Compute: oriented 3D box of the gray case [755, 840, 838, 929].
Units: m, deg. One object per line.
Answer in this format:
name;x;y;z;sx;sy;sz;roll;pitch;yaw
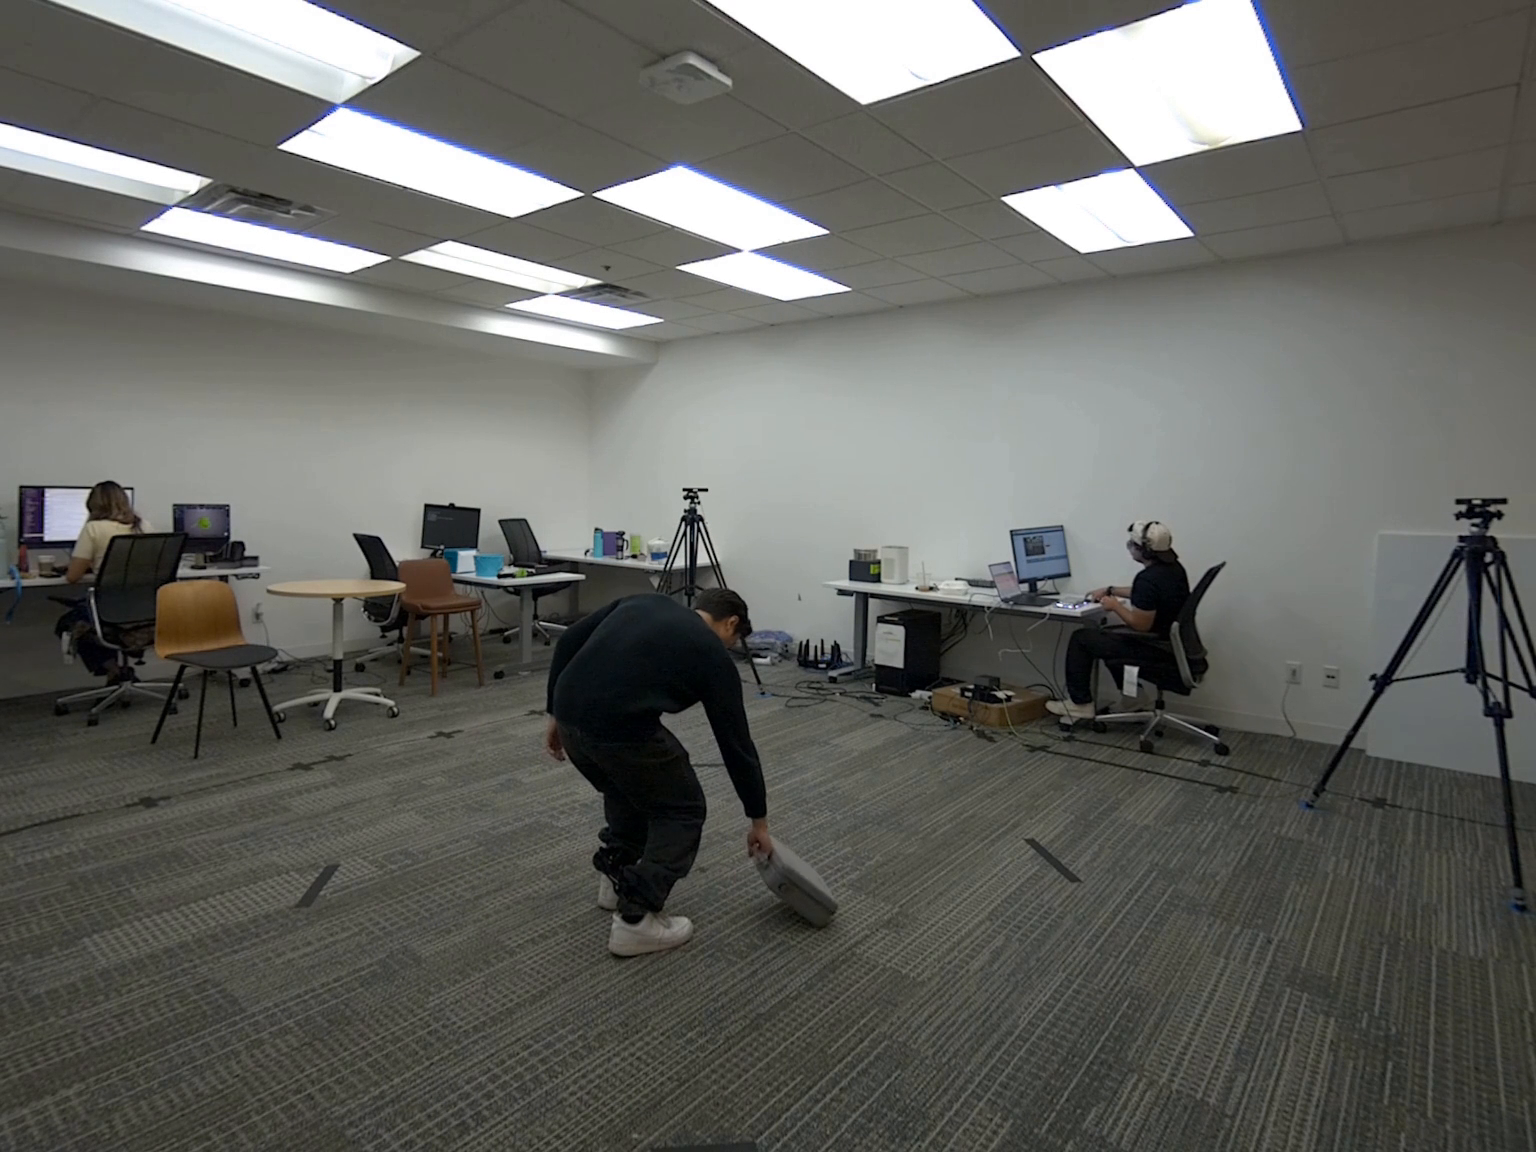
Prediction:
gray case;0.074;0.996;2.784;0.257;0.104;0.261;41;-4;-11
